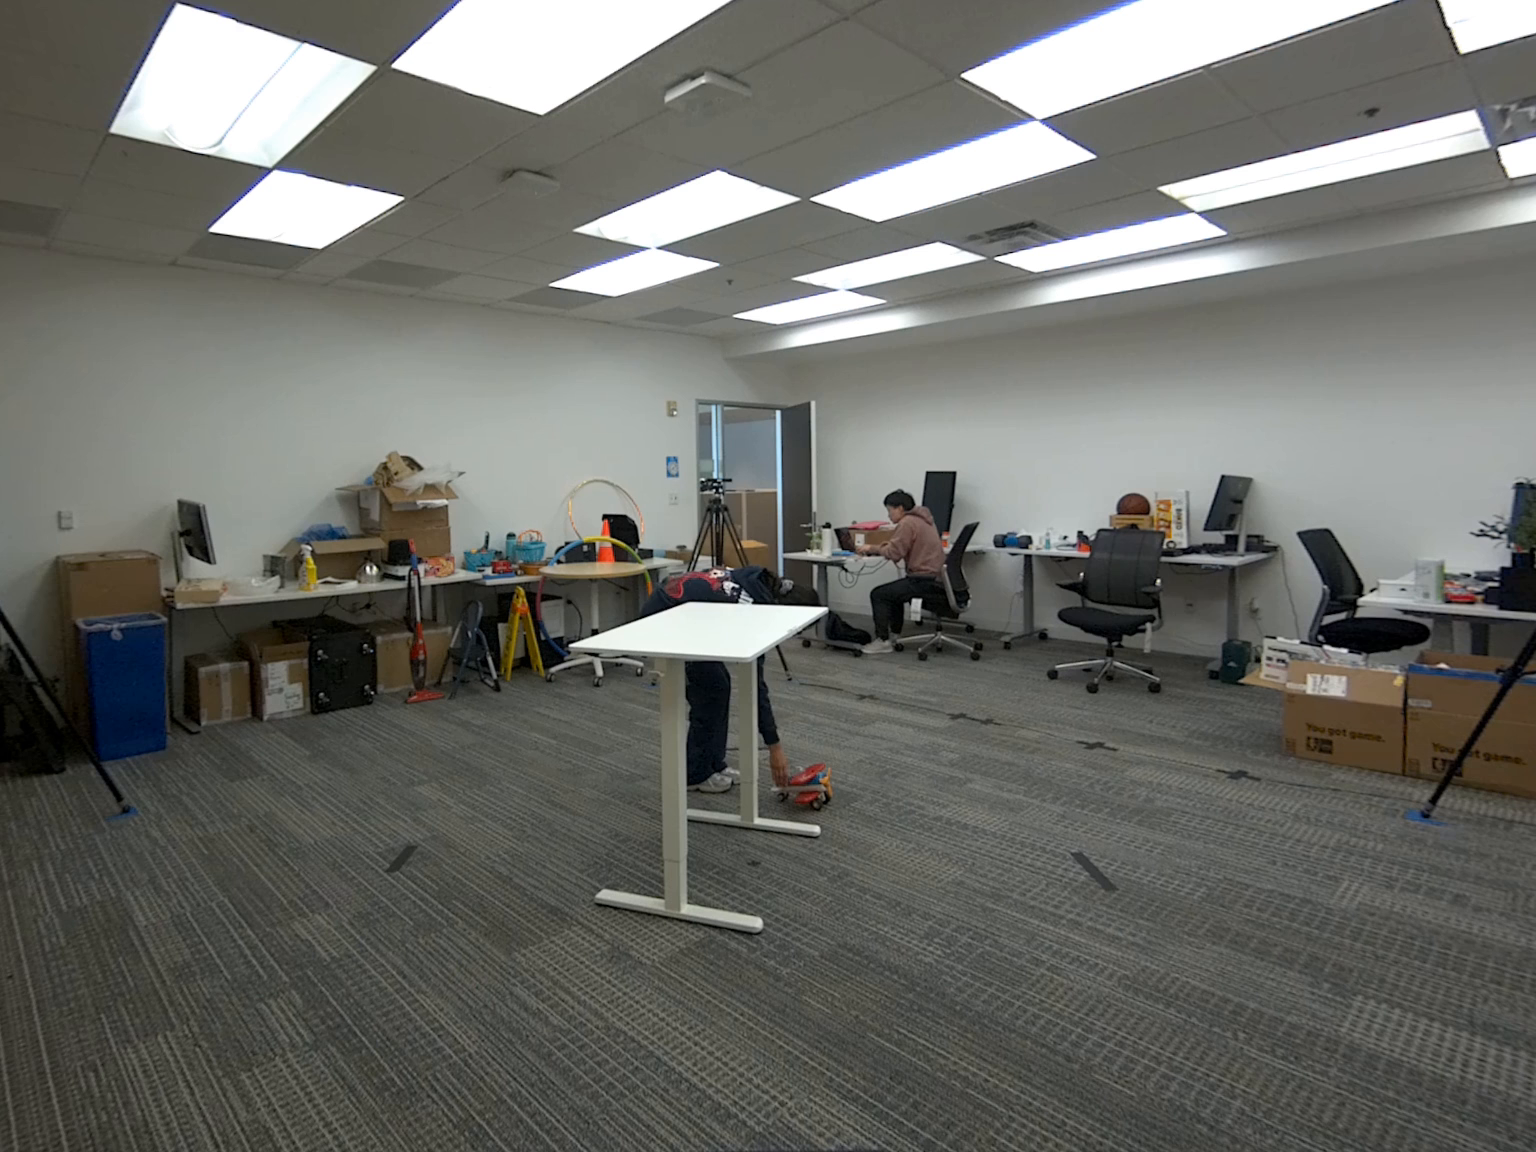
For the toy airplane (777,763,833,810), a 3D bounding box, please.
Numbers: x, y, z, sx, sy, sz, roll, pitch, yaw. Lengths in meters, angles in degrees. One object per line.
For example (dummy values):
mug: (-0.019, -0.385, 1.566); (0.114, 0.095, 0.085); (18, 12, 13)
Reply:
toy airplane: (0.146, 0.911, 3.642); (0.260, 0.156, 0.251); (0, 5, 2)
